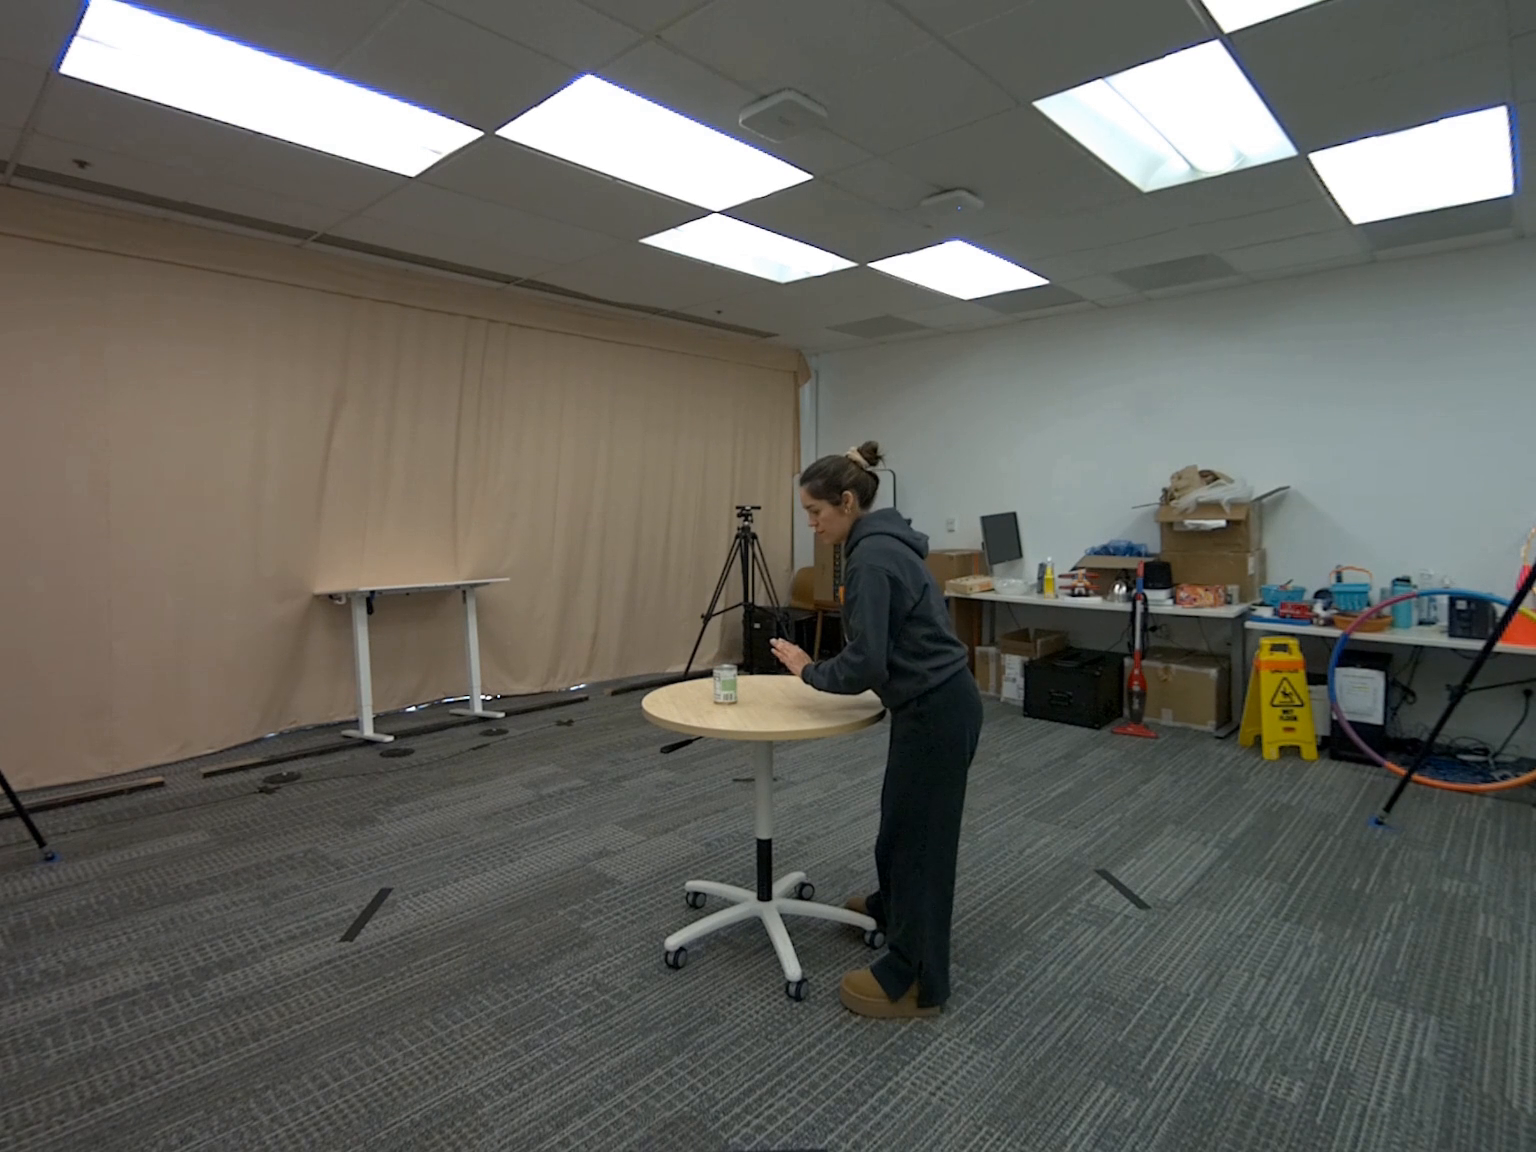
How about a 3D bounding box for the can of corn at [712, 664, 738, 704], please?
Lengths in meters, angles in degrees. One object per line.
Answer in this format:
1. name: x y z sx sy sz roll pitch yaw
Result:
1. can of corn: -0.117 0.340 2.608 0.074 0.110 0.074 -1 6 -2
